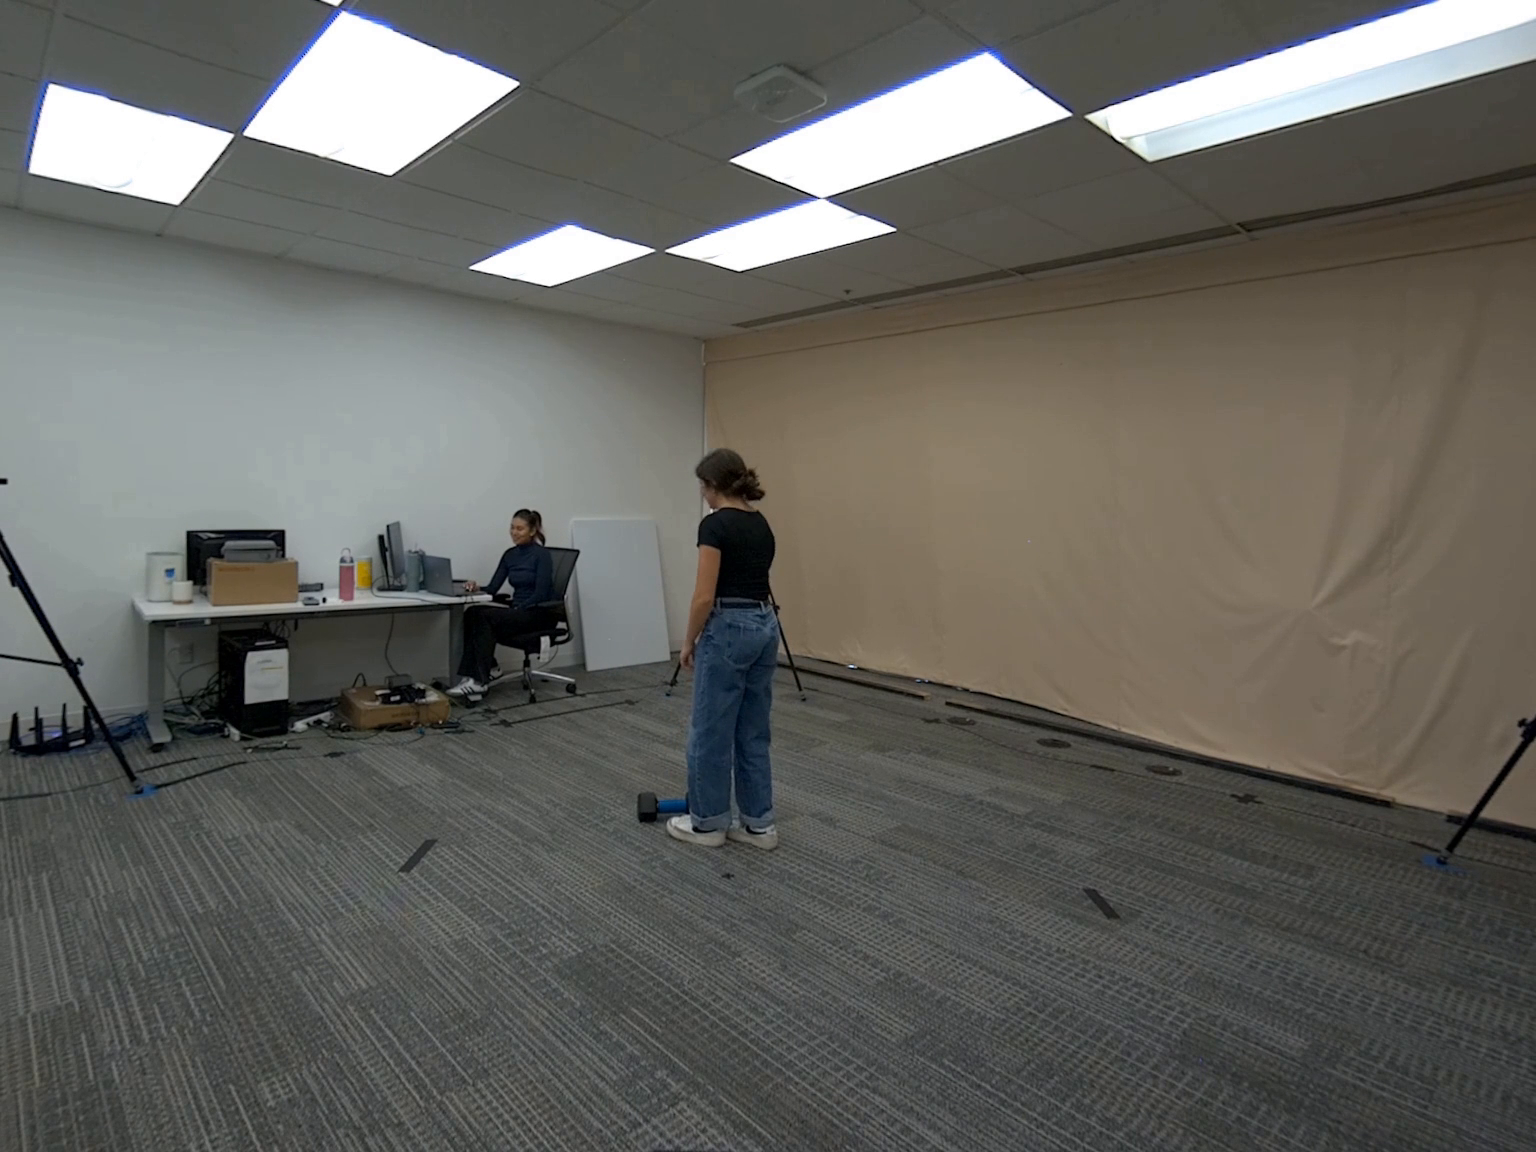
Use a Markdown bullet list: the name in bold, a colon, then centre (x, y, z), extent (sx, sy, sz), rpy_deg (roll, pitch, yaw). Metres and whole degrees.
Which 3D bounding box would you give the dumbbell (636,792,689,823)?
- **dumbbell**: centre (-0.429, 1.000, 3.651), extent (0.291, 0.125, 0.107), rpy_deg (0, -26, -10)
